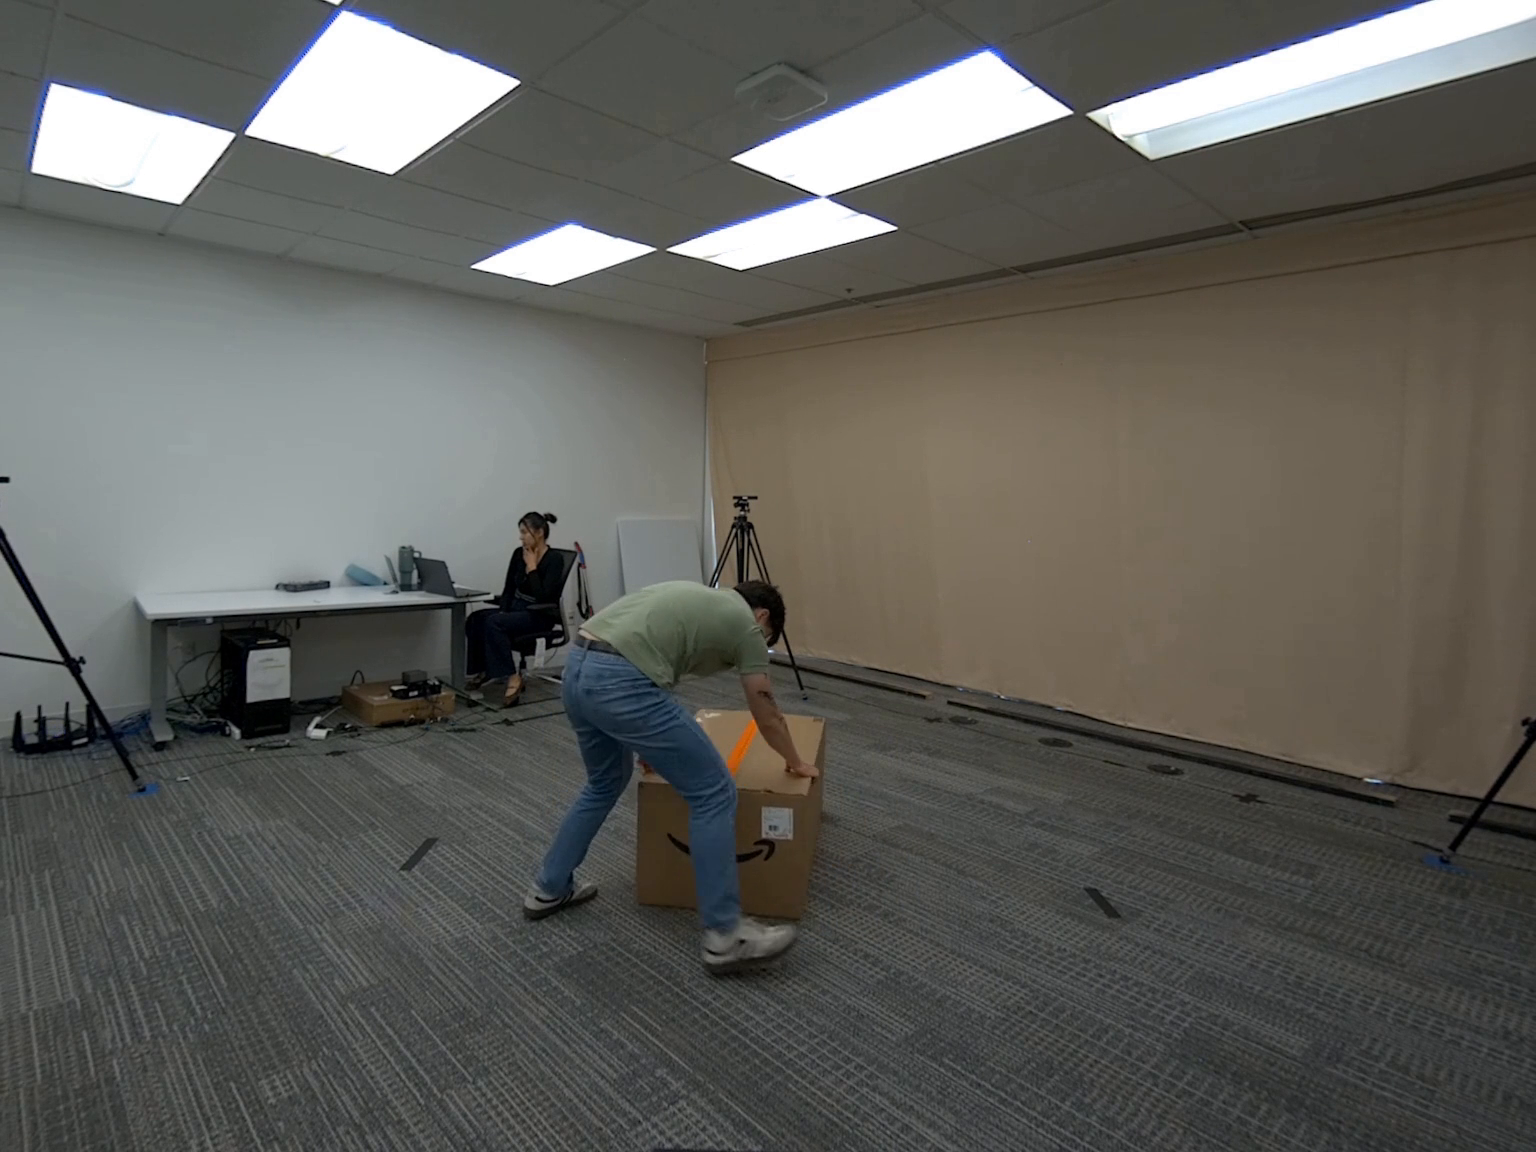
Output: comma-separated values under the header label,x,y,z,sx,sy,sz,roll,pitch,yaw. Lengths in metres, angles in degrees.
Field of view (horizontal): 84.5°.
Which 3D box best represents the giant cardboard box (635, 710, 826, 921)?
label,x,y,z,sx,sy,sz,roll,pitch,yaw
giant cardboard box,-0.100,0.873,3.315,0.581,0.425,1.022,1,5,7
